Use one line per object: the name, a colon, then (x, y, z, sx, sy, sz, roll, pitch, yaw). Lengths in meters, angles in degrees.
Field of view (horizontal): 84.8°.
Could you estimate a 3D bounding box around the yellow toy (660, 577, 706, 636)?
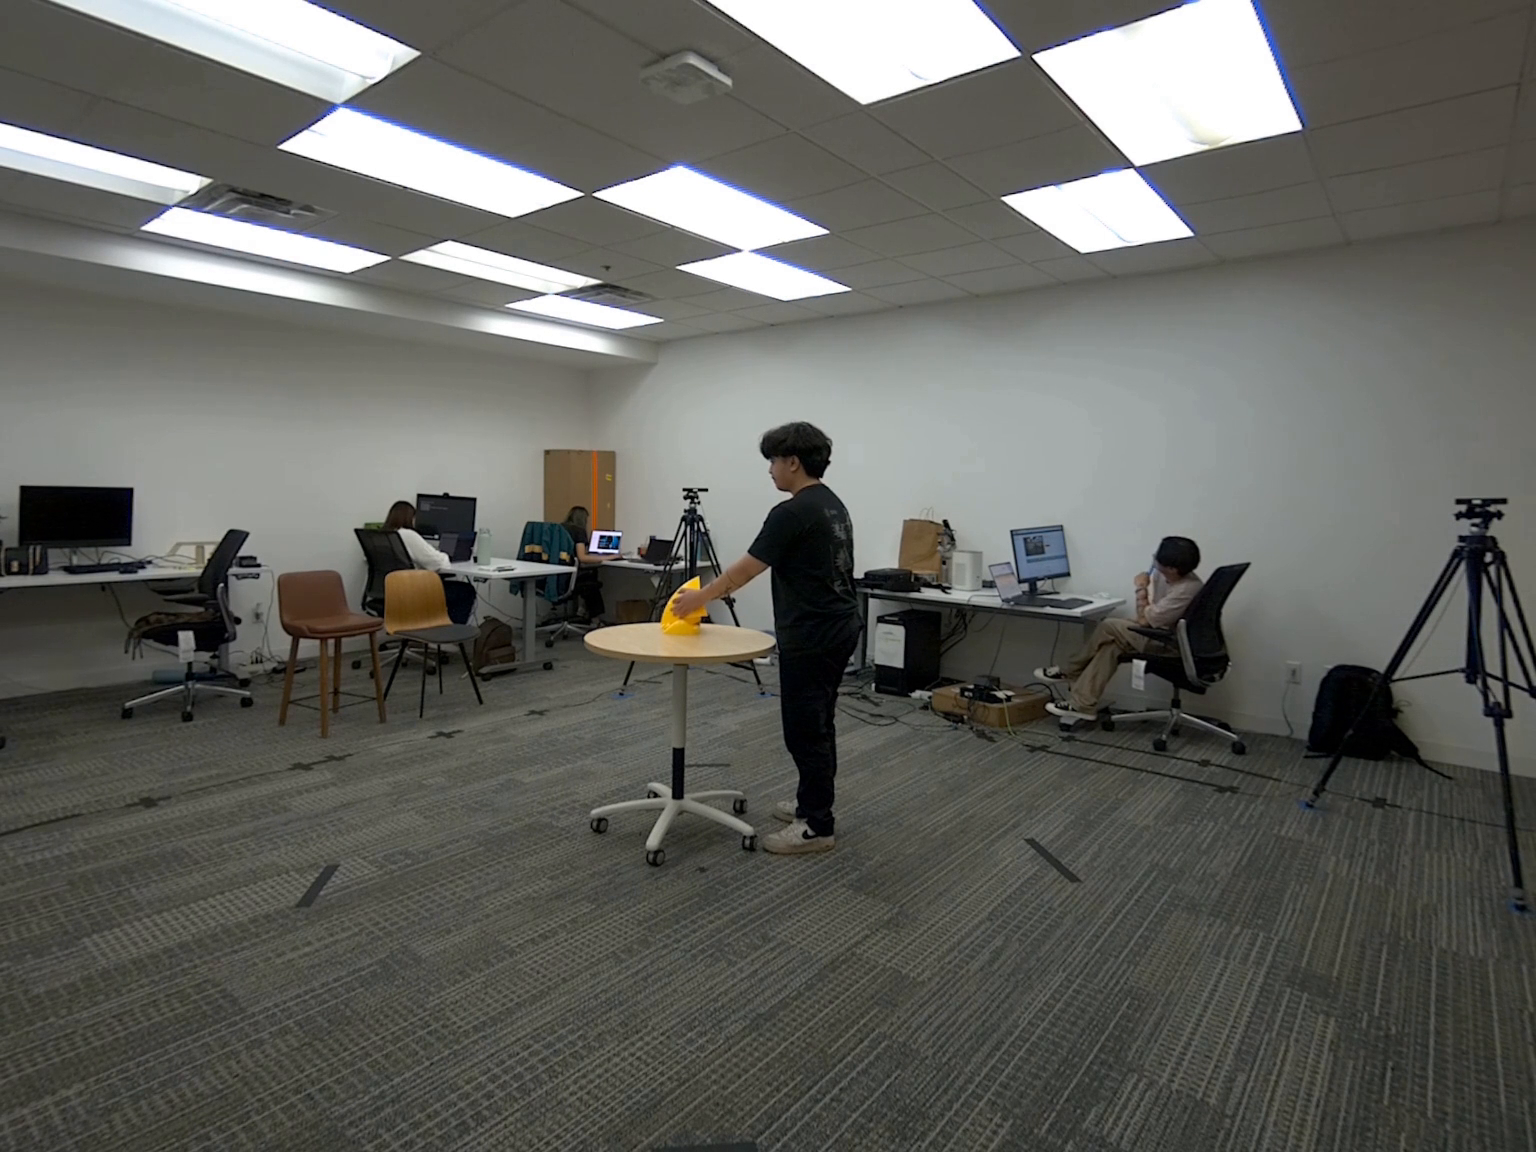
yellow toy: (-0.366, 0.112, 3.591, 0.191, 0.229, 0.208, 1, 7, -10)
